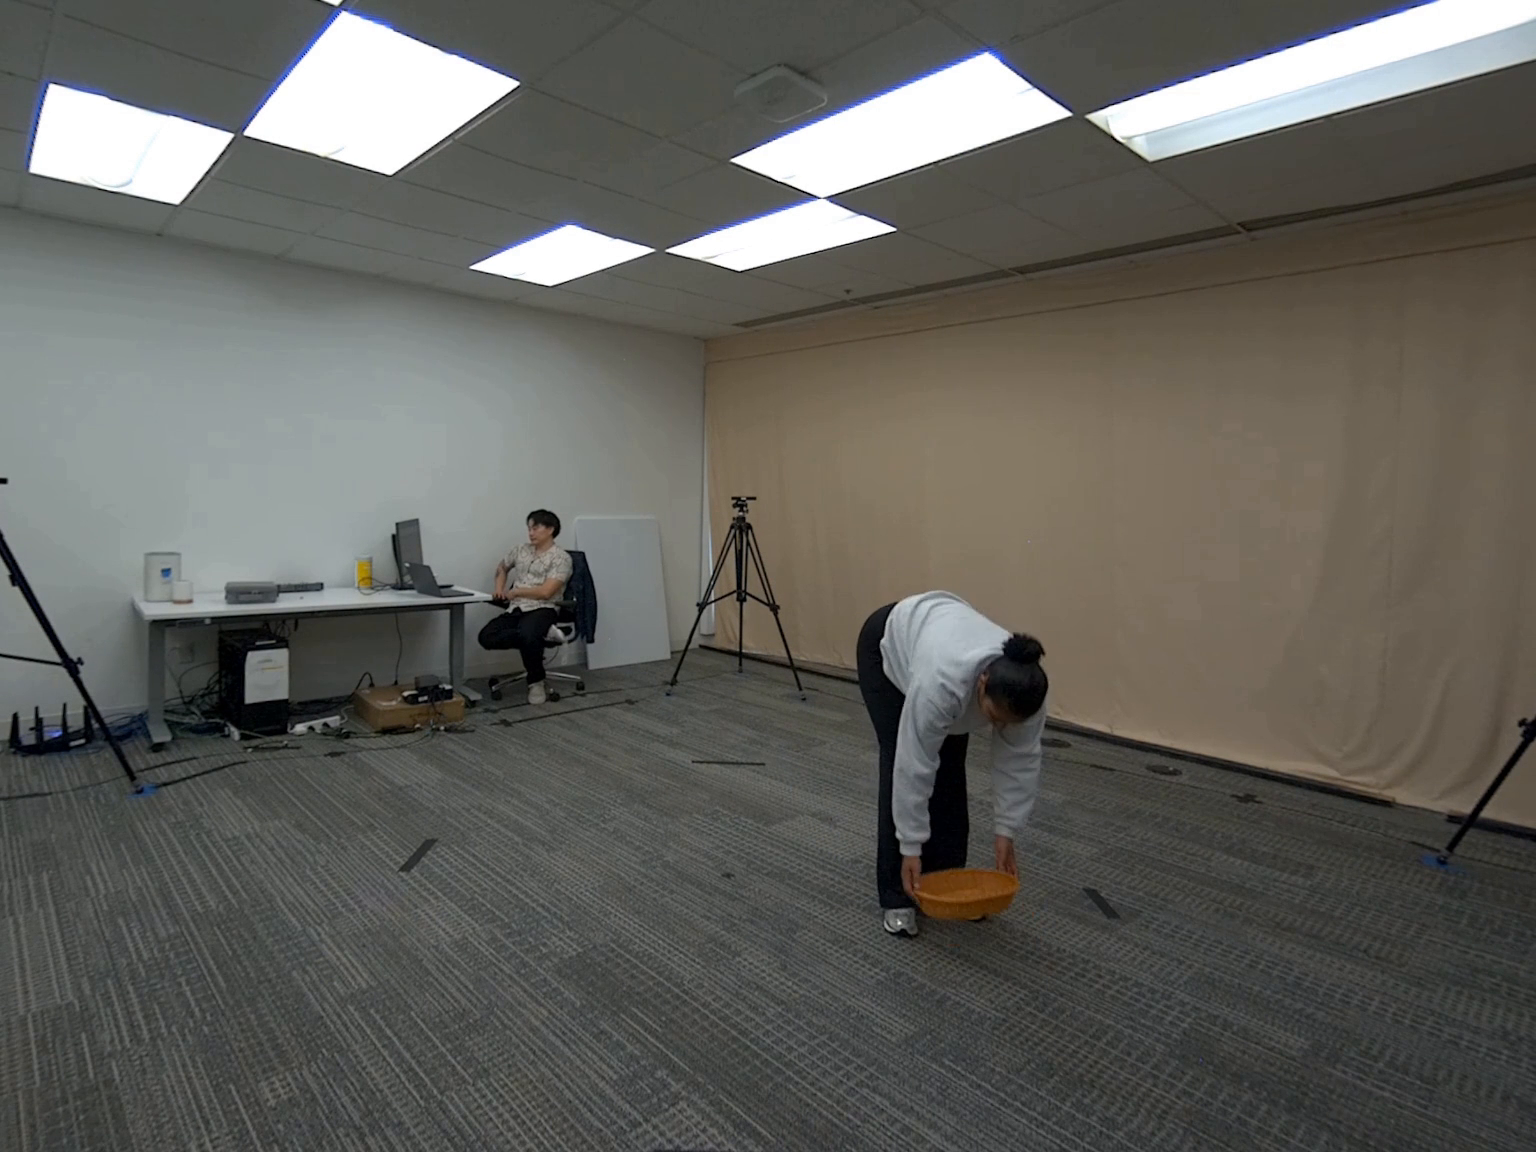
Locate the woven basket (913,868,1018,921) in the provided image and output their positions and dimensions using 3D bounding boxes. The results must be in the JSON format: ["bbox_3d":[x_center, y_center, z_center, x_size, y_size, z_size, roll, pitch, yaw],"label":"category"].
[{"bbox_3d":[0.596,0.959,2.564,0.346,0.073,0.255,-1,-2,-18],"label":"woven basket"}]
